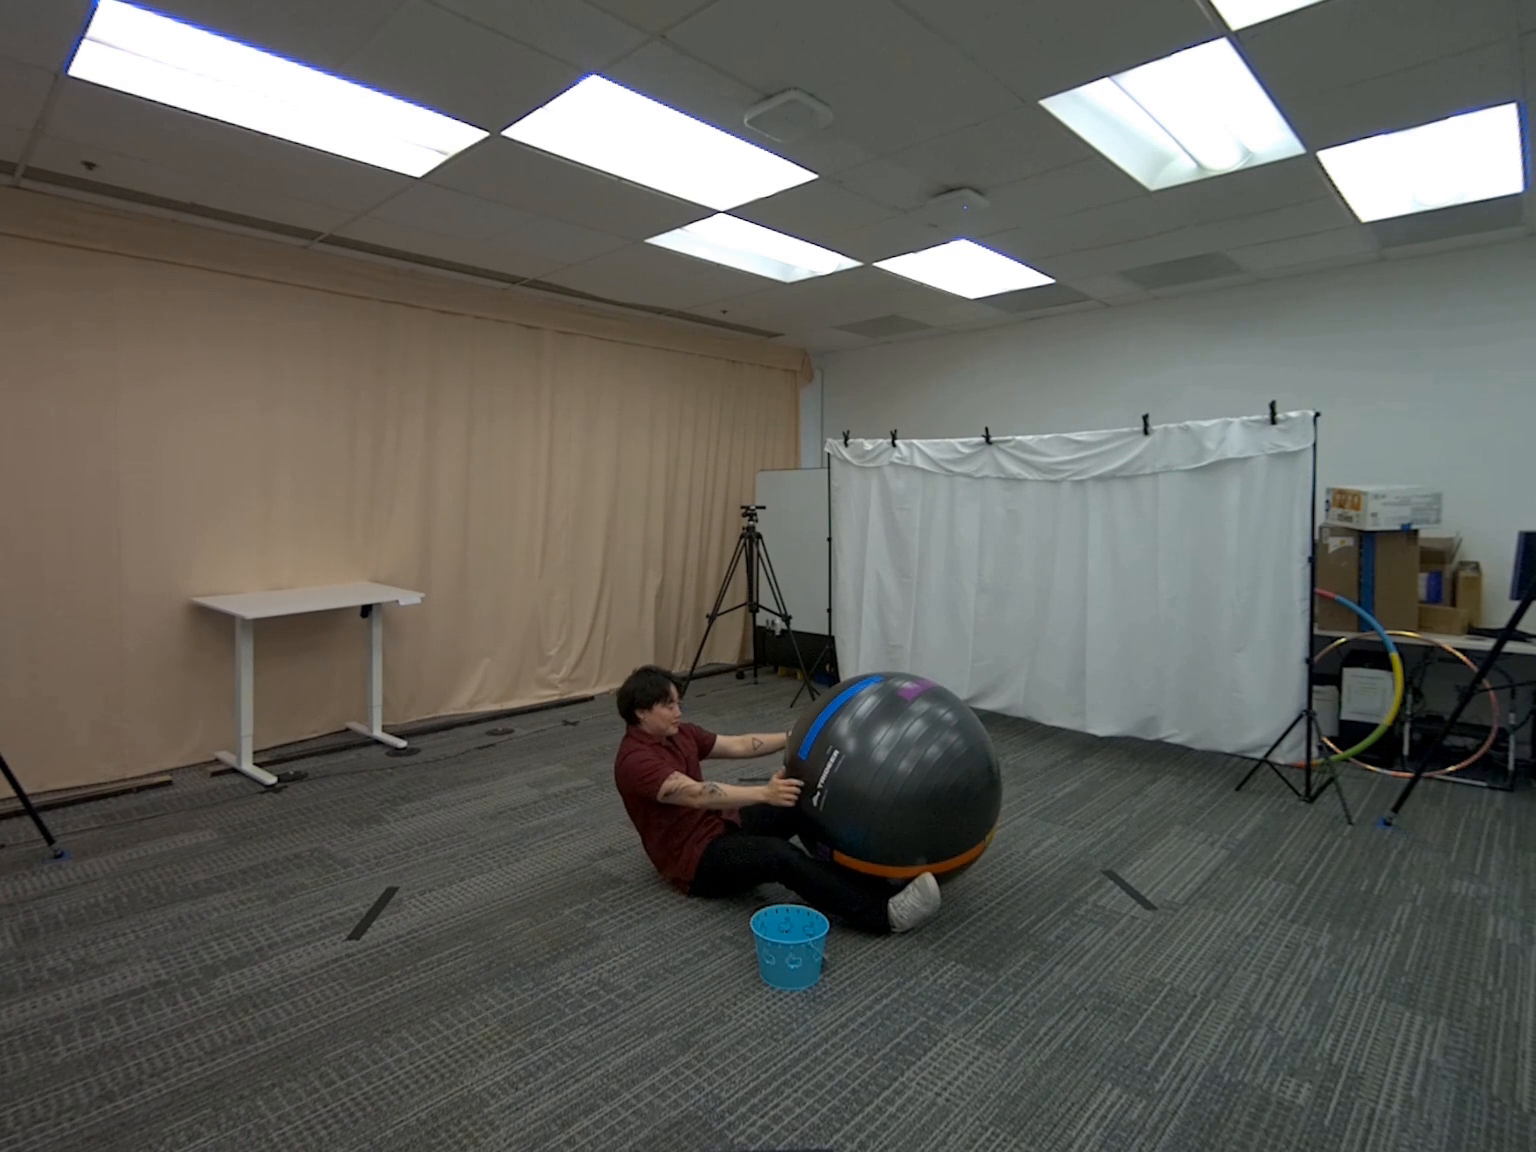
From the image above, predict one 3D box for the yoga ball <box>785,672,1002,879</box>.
[{"bbox_3d":[0.445,0.722,2.987,0.757,0.756,0.760,0,4,-2],"label":"yoga ball"}]
